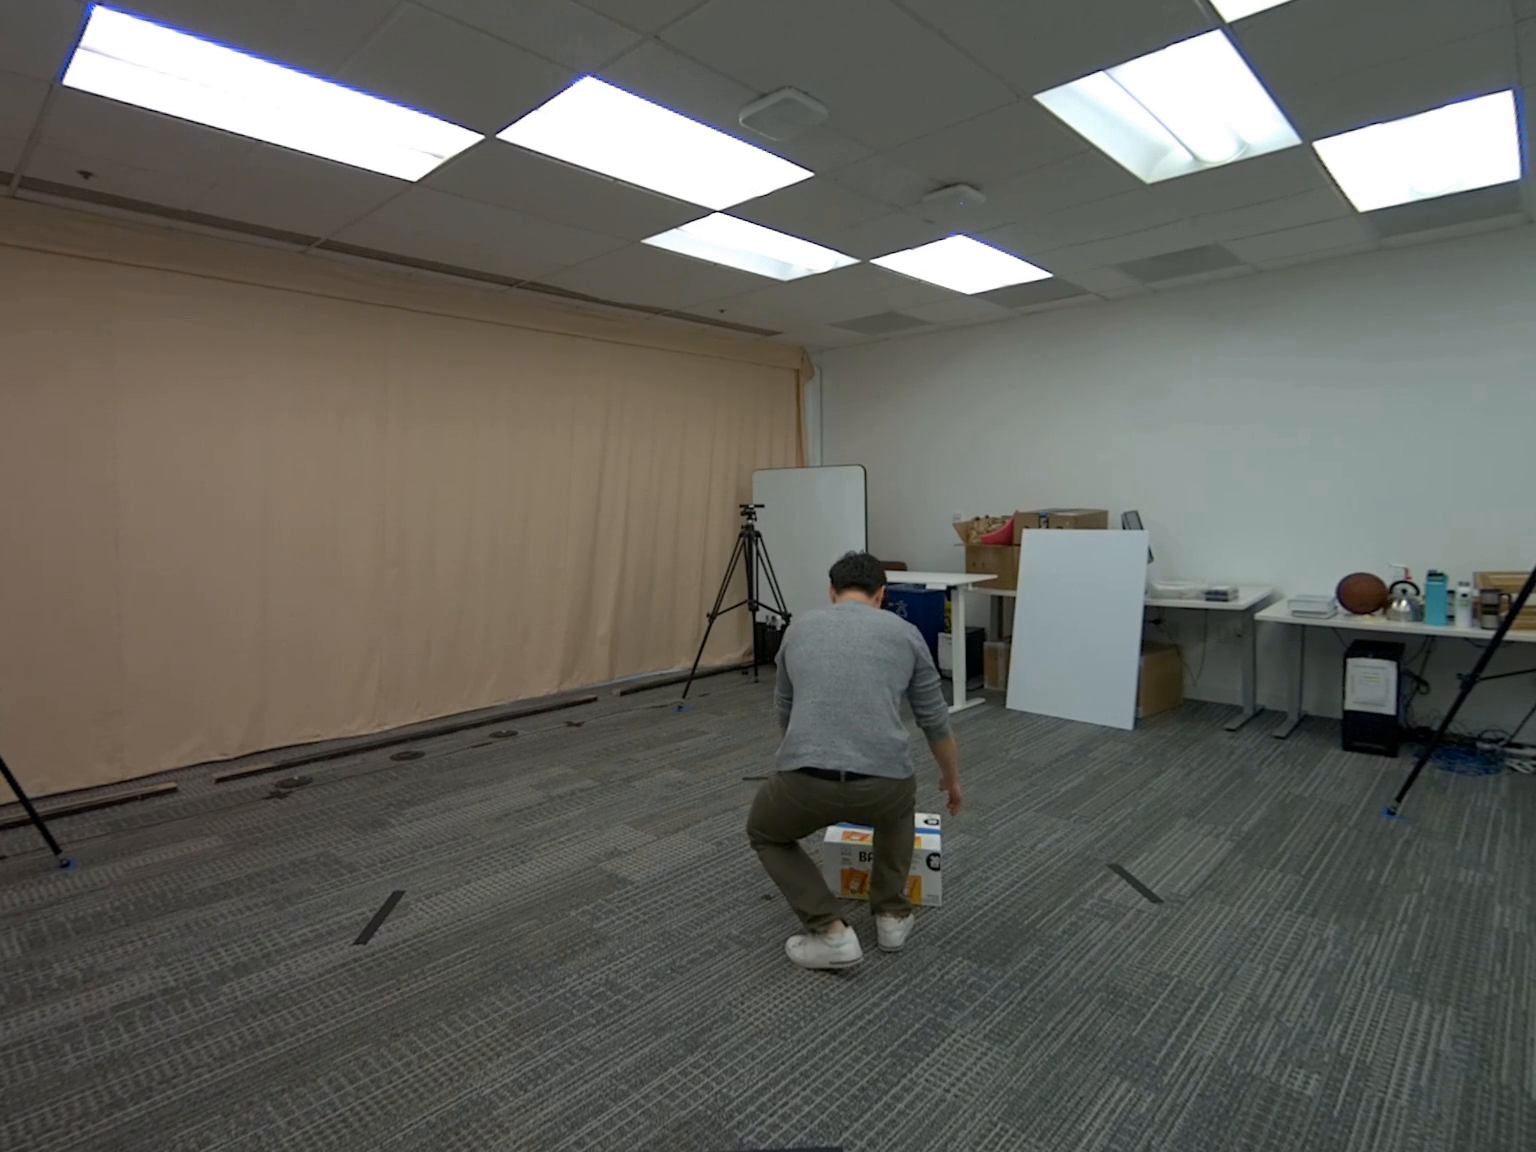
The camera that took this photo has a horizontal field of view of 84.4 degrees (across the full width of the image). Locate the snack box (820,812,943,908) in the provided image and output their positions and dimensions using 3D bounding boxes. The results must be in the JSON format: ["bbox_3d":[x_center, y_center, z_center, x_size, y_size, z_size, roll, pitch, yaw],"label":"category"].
[{"bbox_3d":[0.432,1.027,3.093,0.411,0.205,0.336,-1,4,13],"label":"snack box"}]
